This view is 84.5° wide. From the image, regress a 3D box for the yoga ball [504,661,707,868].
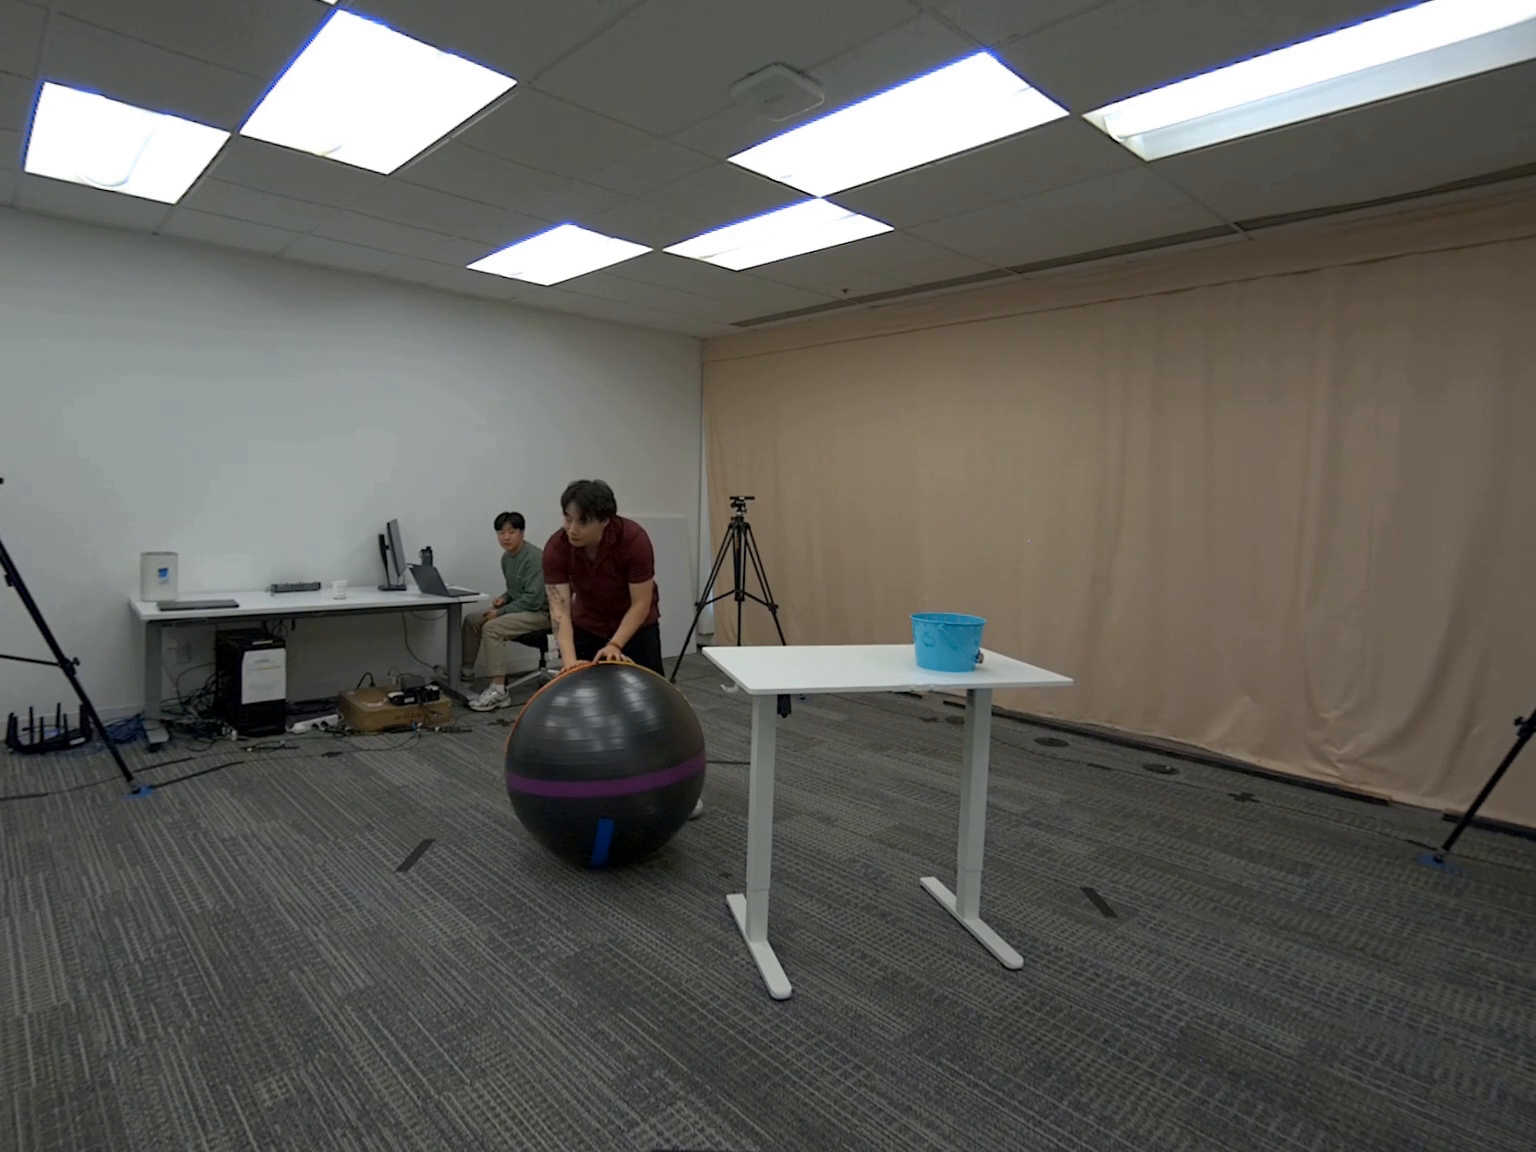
[{"bbox_3d":[-0.619,0.717,3.231,0.757,0.756,0.760,1,4,-1],"label":"yoga ball"}]
